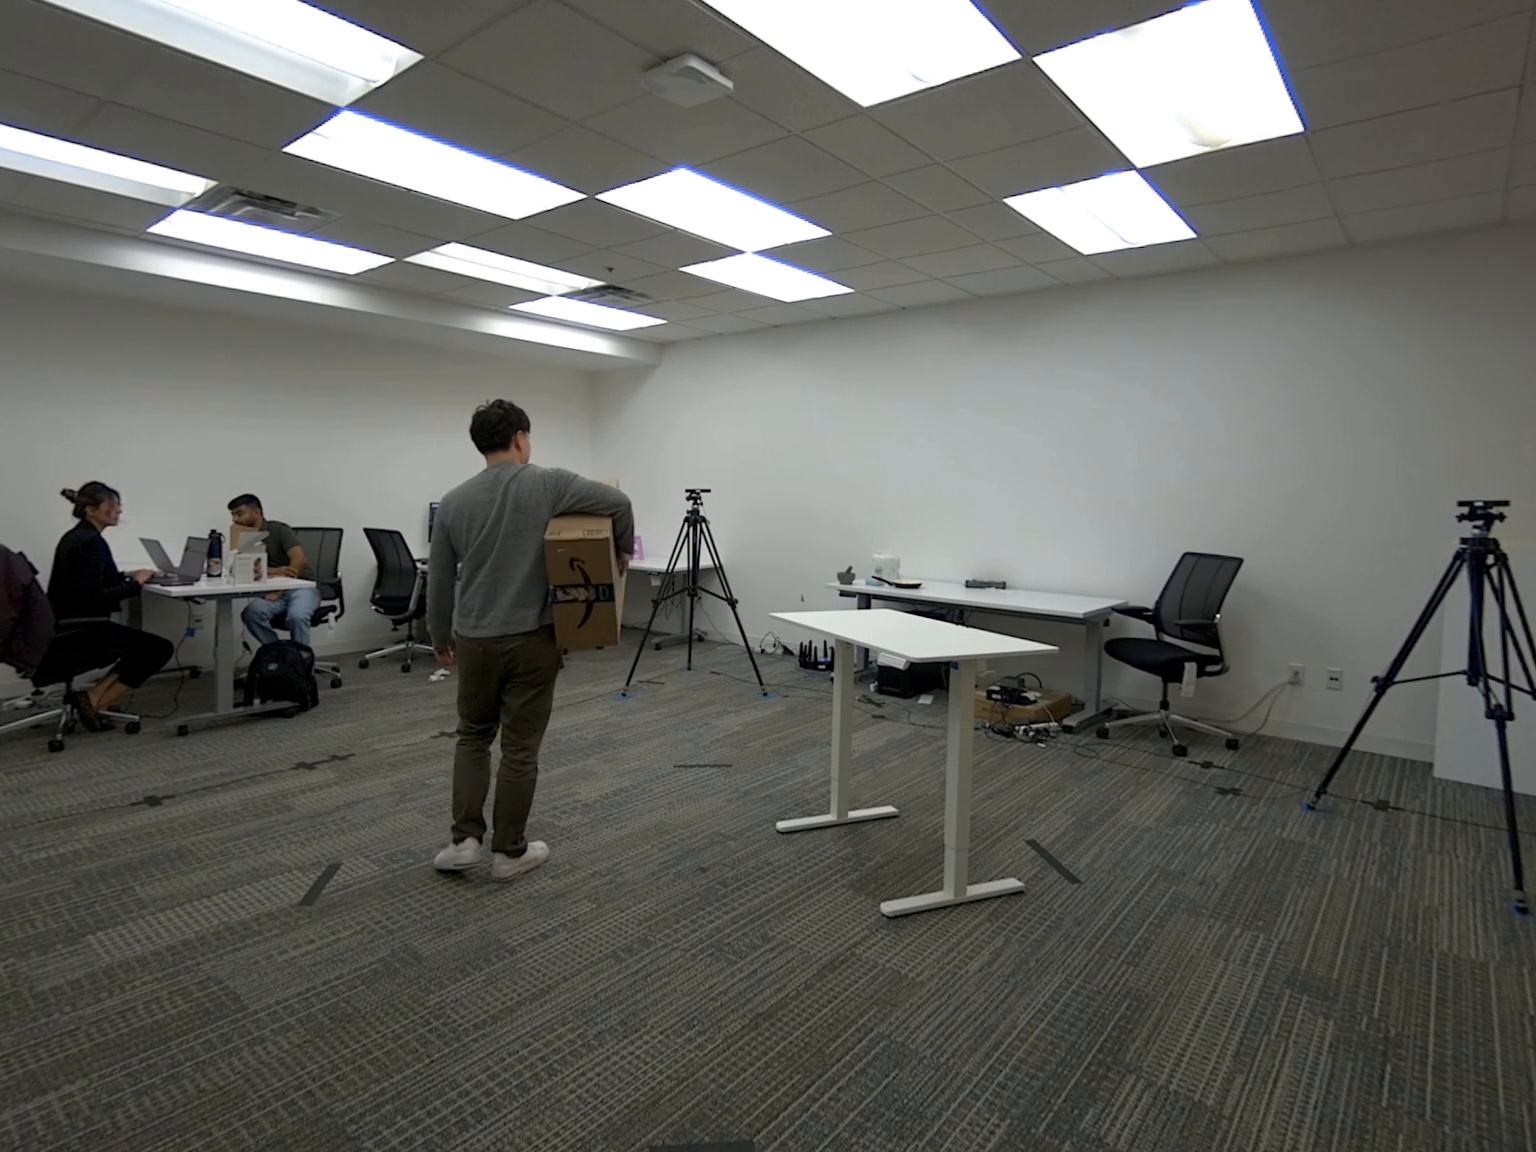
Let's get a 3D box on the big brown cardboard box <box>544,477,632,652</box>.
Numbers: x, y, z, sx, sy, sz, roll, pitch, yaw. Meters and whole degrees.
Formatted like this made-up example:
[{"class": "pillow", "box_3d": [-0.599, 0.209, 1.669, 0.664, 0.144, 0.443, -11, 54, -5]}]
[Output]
[{"class": "big brown cardboard box", "box_3d": [-0.653, -0.063, 3.095, 0.232, 0.408, 0.604, -3, 25, -4]}]
